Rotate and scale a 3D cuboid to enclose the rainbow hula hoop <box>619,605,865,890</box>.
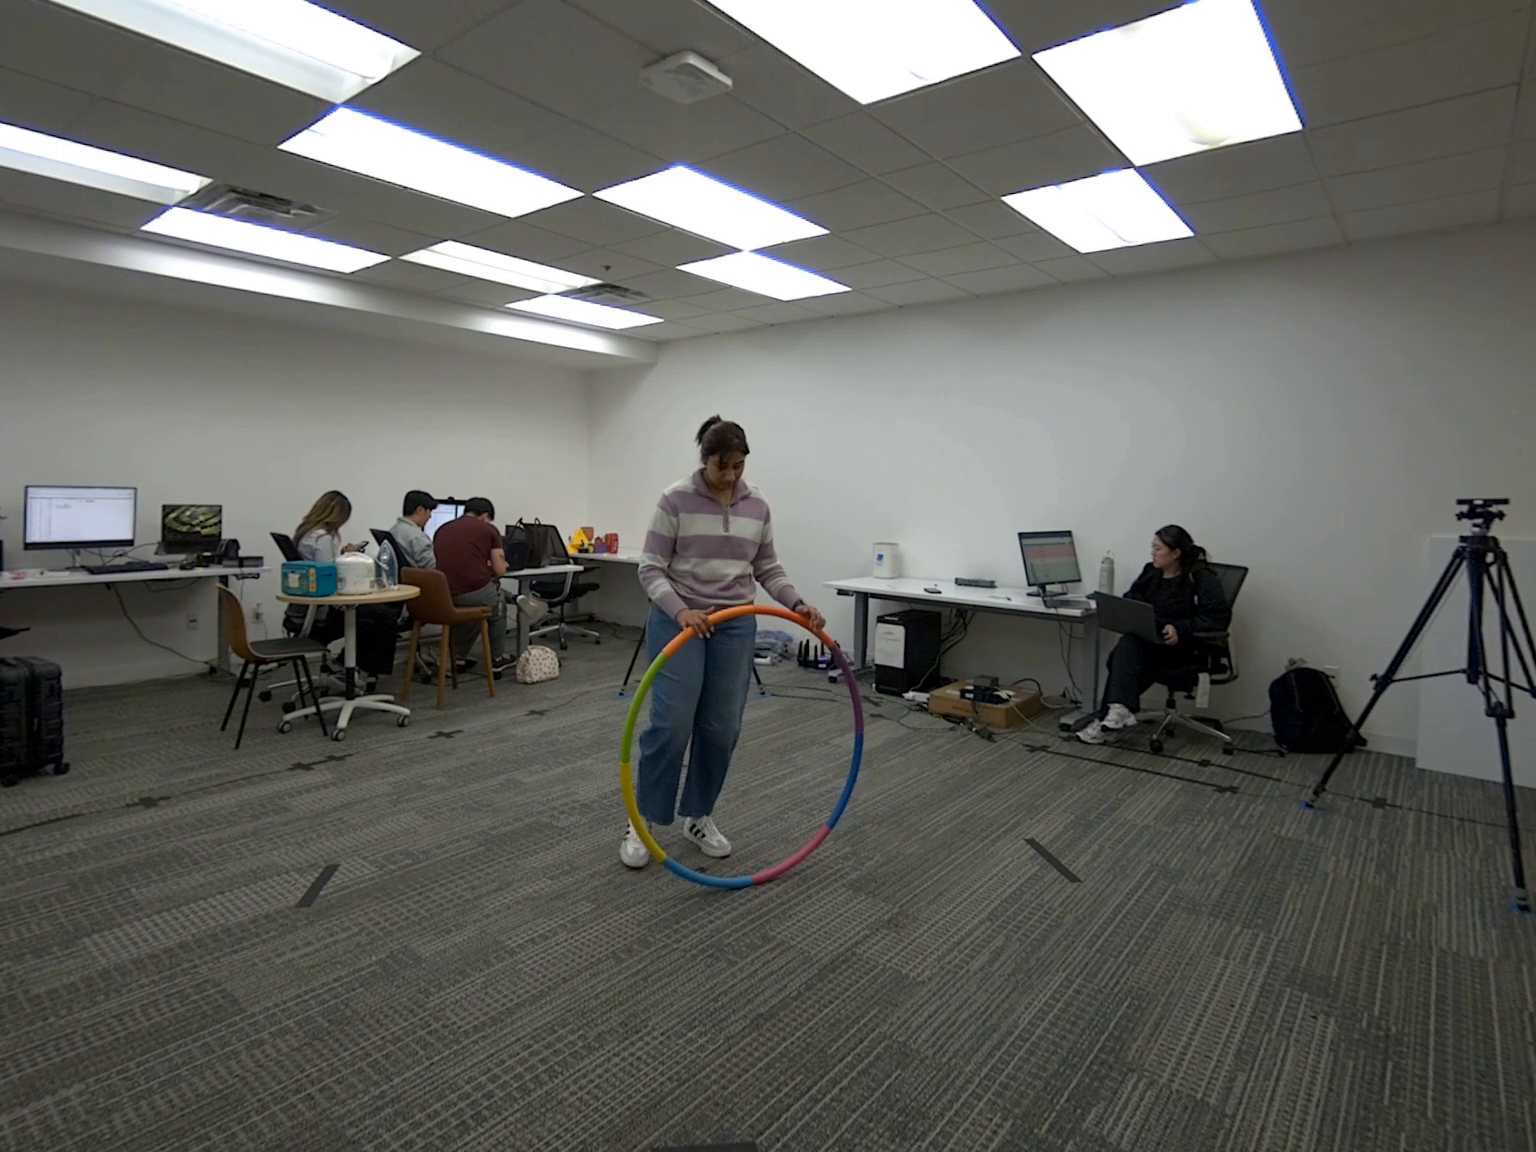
[{"bbox_3d":[-0.067,0.599,2.993,0.960,0.985,0.053,-1,0,-29],"label":"rainbow hula hoop"}]
